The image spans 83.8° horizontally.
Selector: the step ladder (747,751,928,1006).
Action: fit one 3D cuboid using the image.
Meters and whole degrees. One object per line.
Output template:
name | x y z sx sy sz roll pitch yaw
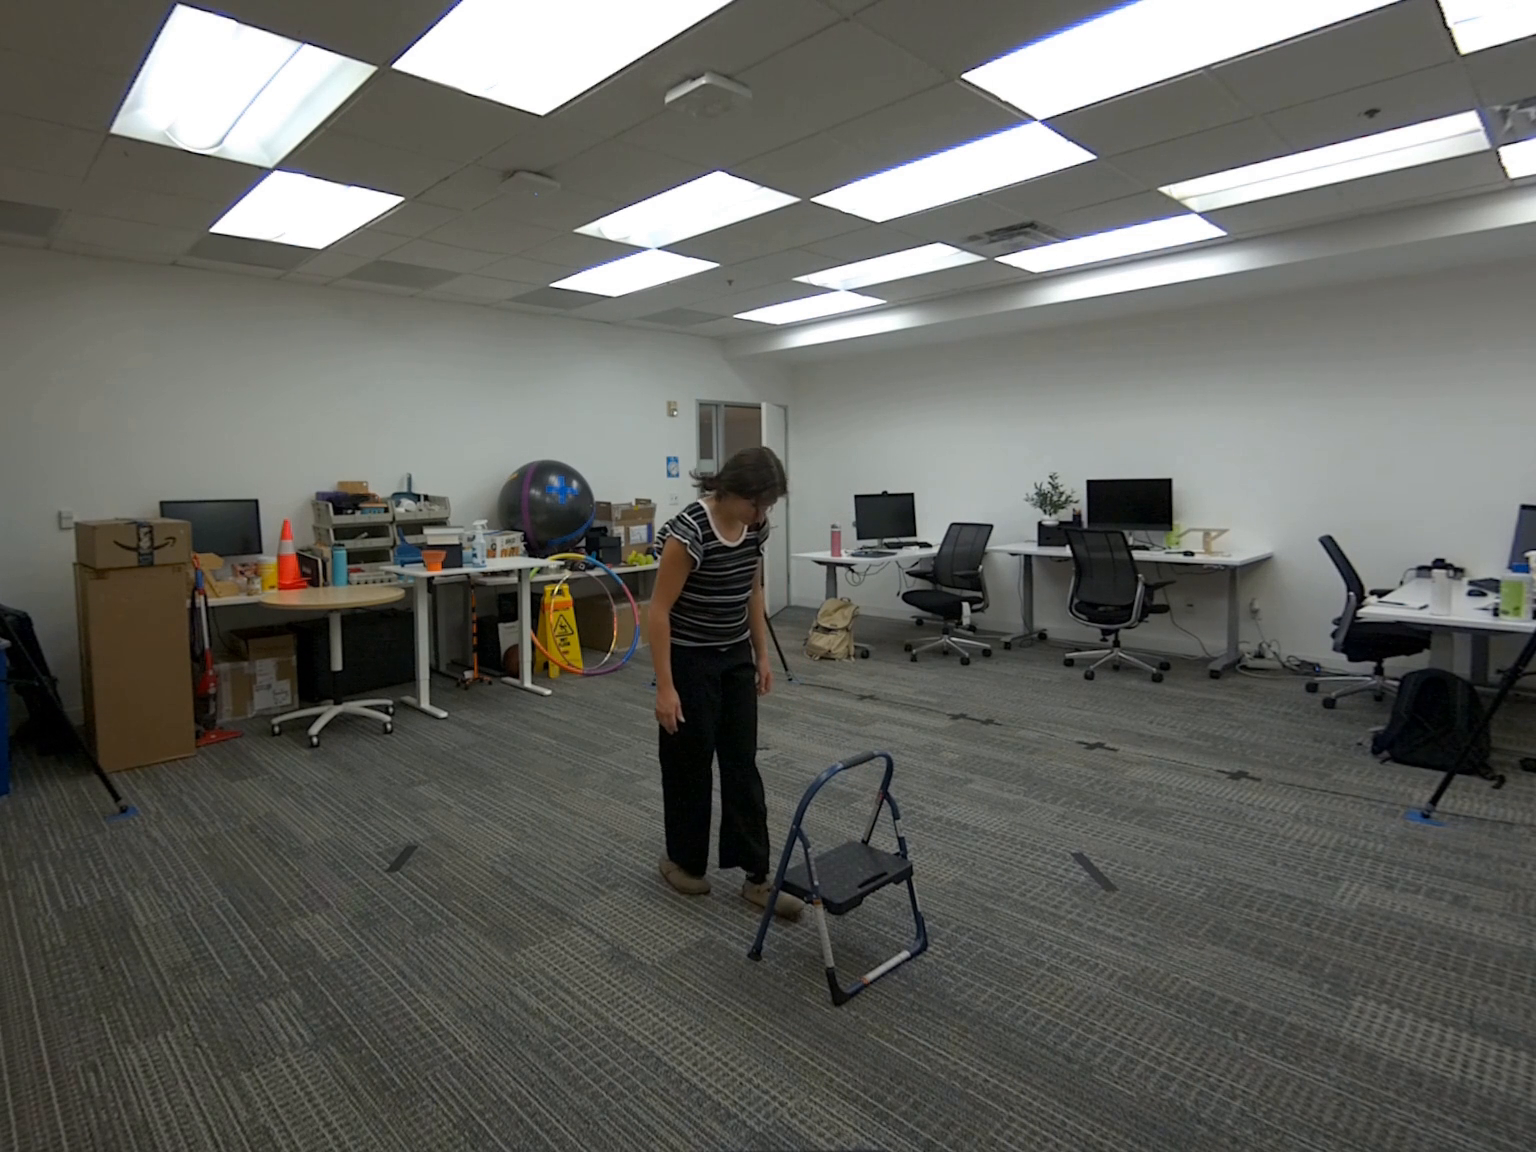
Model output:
step ladder | 0.209 0.811 2.498 0.419 0.604 0.360 -6 6 -44
